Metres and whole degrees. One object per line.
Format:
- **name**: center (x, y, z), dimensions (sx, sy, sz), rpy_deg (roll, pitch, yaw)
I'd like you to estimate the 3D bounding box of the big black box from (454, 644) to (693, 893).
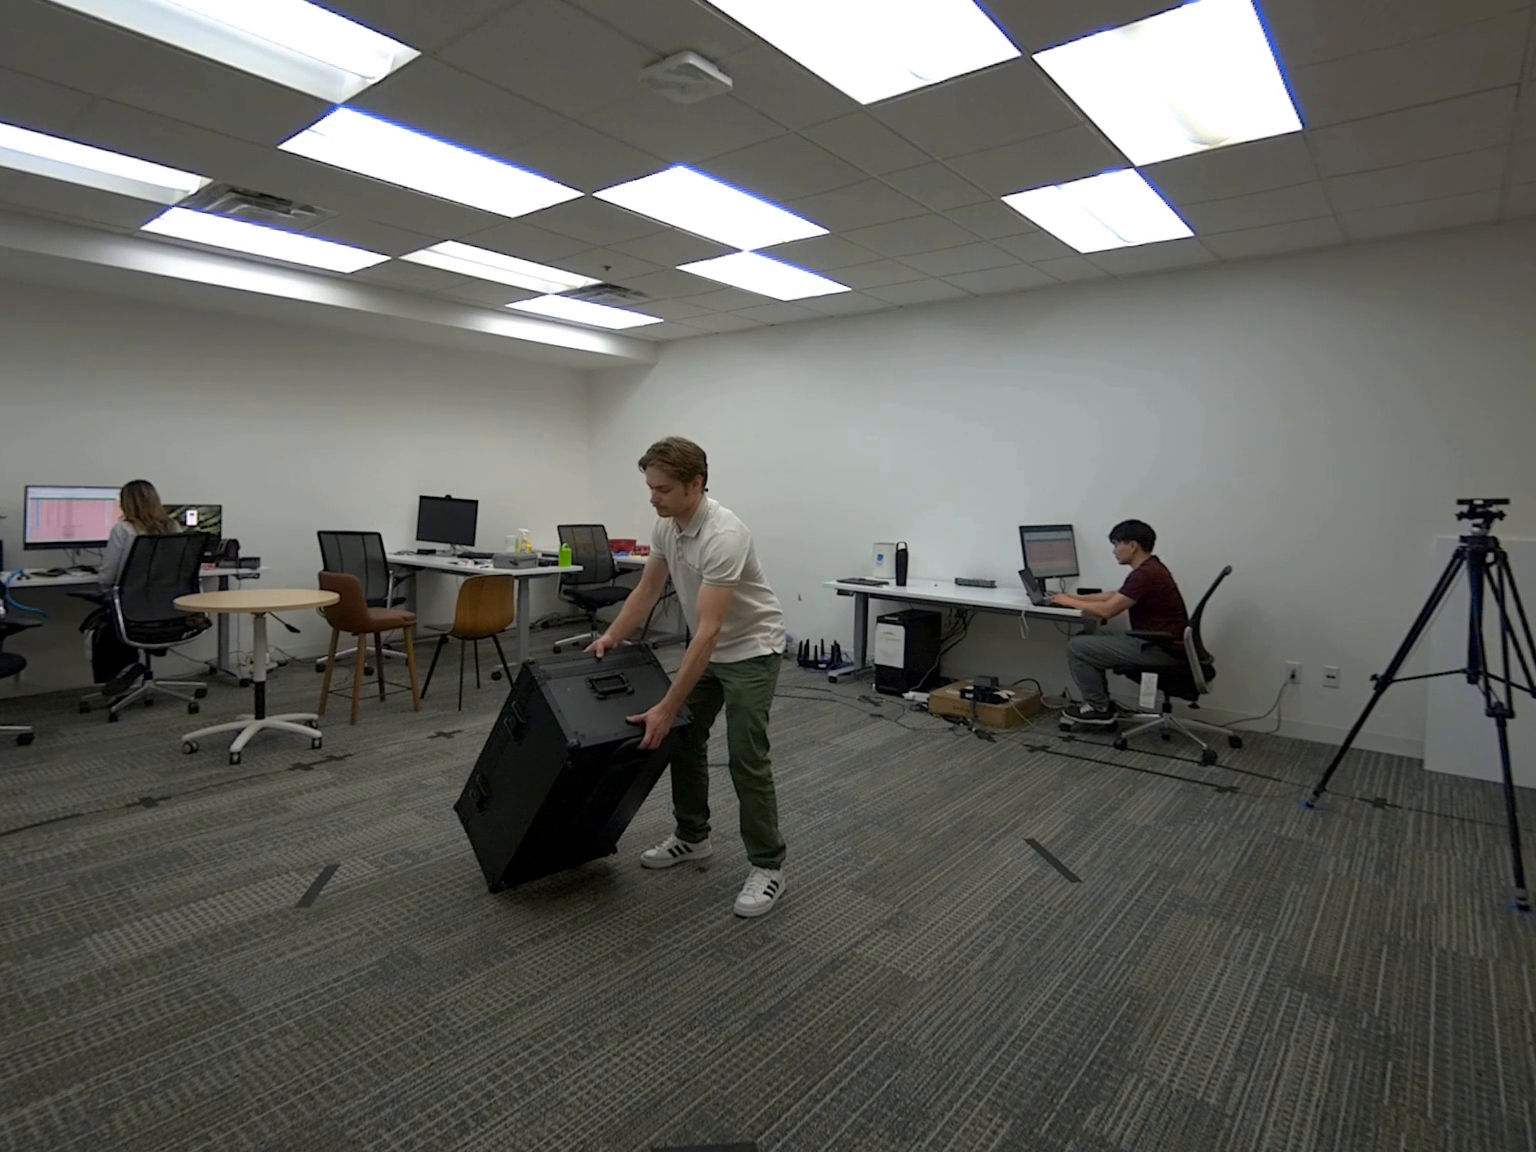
- **big black box**: center (-0.696, 0.677, 2.923), dimensions (0.508, 0.862, 0.400), rpy_deg (-4, 45, -46)
